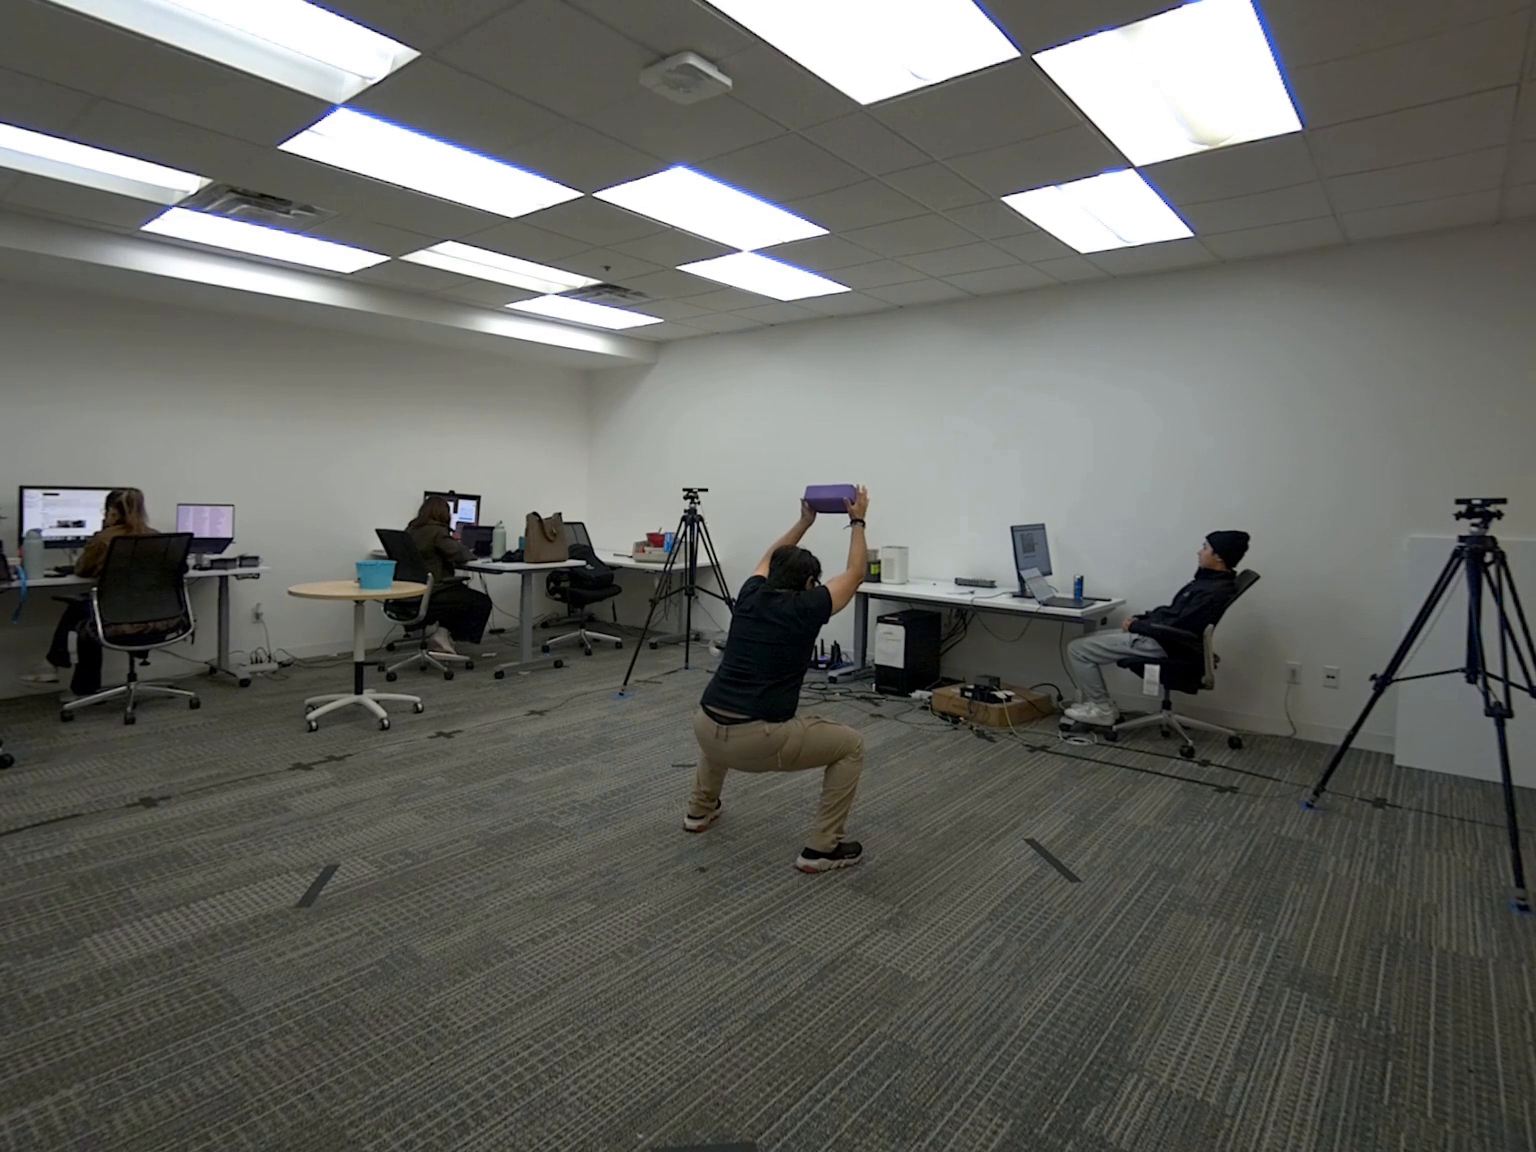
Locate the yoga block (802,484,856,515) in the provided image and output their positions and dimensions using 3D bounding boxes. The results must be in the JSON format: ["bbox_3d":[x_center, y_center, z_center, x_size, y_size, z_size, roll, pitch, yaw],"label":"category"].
[{"bbox_3d":[0.277,-0.339,3.657,0.236,0.077,0.143,2,-23,36],"label":"yoga block"}]
